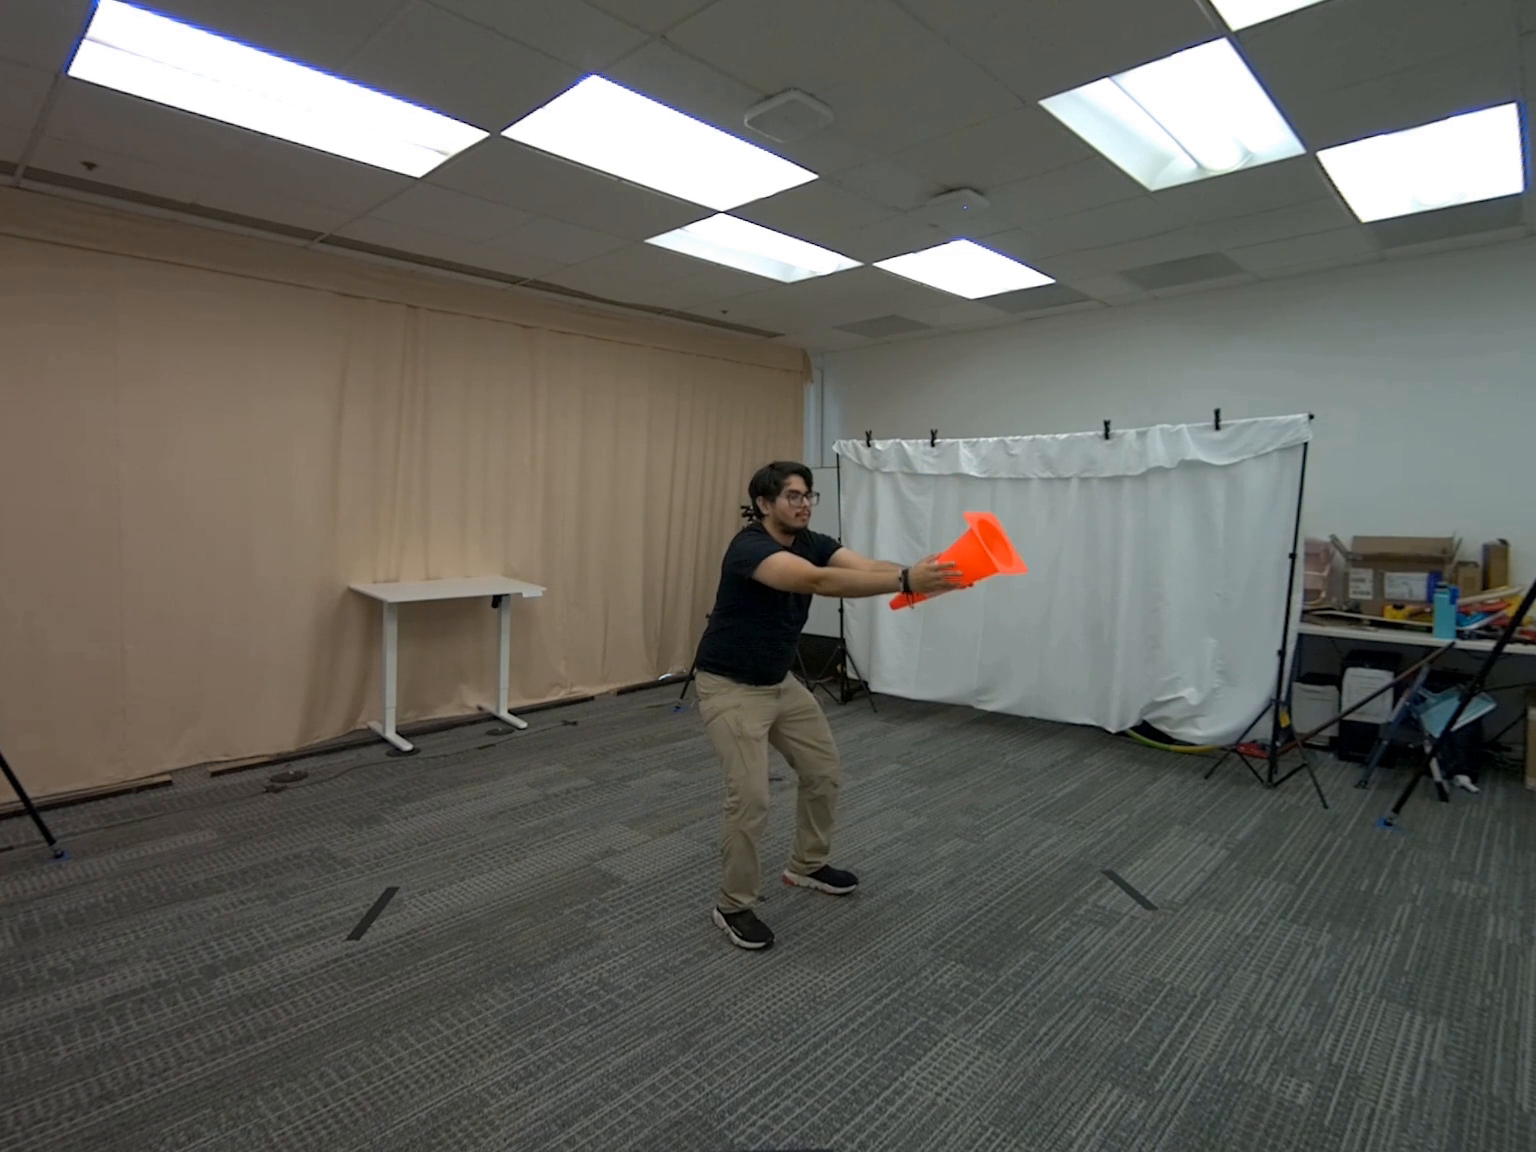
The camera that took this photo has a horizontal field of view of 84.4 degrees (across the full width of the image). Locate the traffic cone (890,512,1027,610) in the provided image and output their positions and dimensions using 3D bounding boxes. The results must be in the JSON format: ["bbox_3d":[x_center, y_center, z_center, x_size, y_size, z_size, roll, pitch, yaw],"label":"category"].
[{"bbox_3d":[0.512,0.006,2.438,0.389,0.207,0.199,-36,-20,35],"label":"traffic cone"}]
